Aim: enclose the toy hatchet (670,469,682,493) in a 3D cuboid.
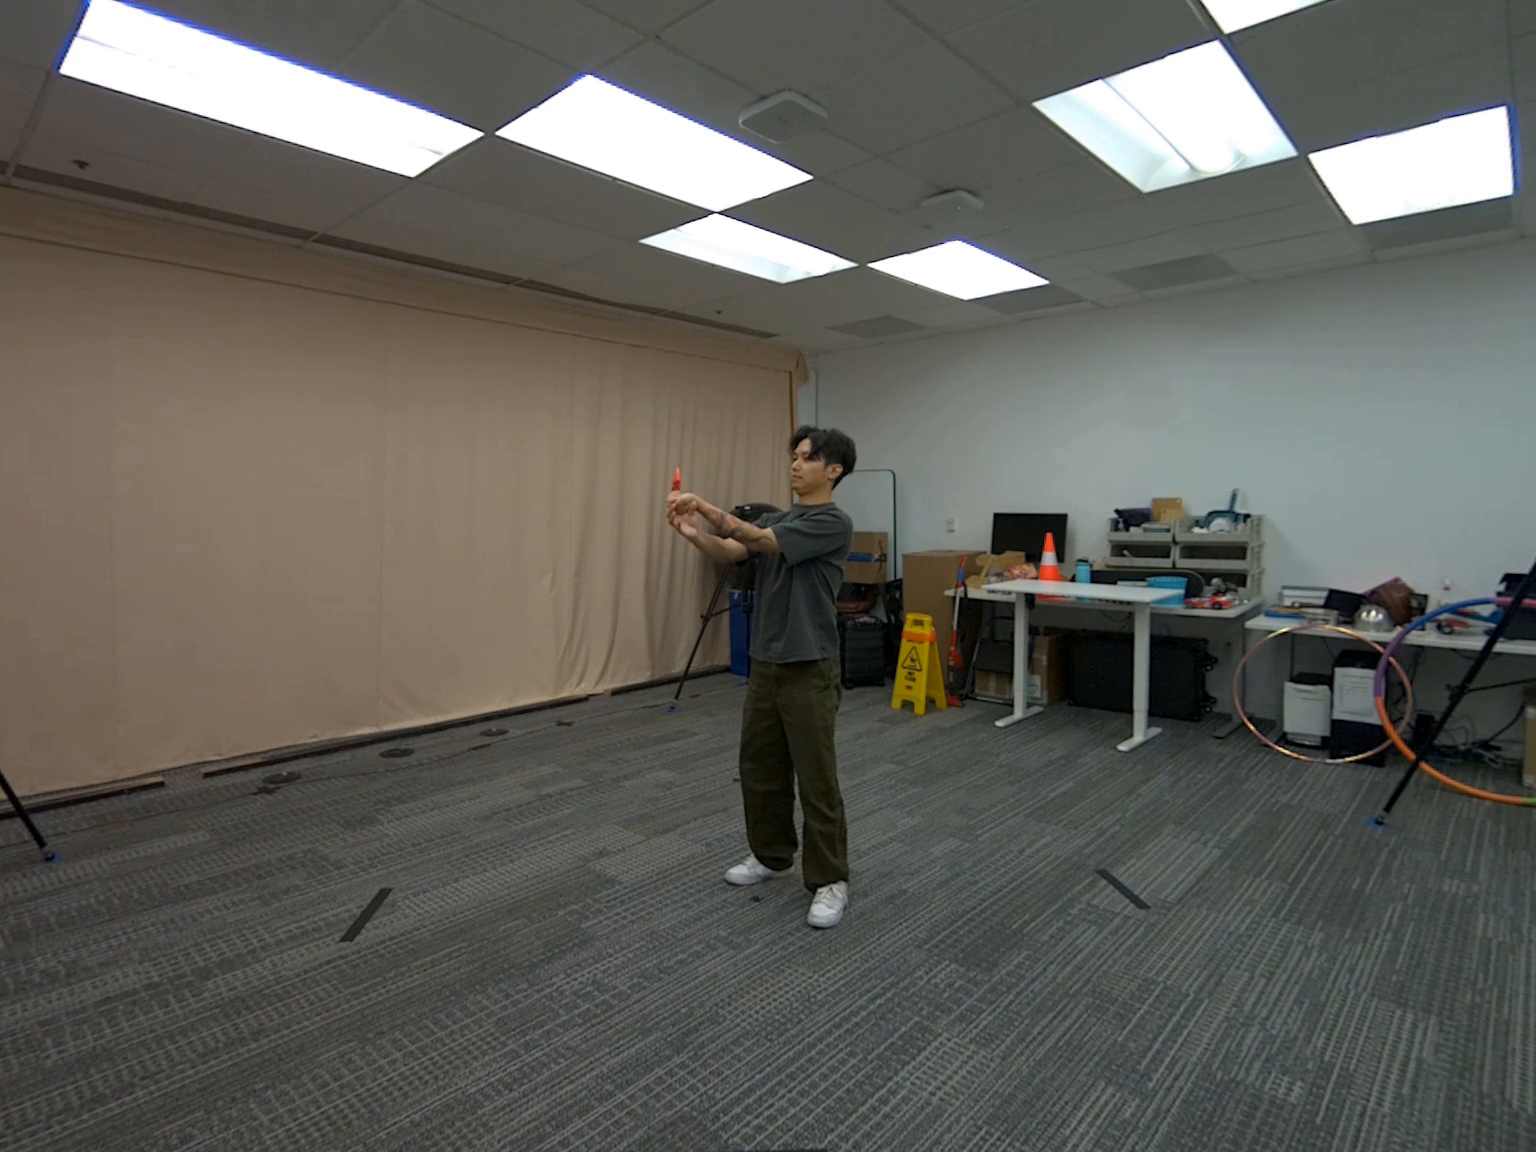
[{"bbox_3d":[-0.290,-0.281,2.714,0.029,0.130,0.274,3,9,-11],"label":"toy hatchet"}]
